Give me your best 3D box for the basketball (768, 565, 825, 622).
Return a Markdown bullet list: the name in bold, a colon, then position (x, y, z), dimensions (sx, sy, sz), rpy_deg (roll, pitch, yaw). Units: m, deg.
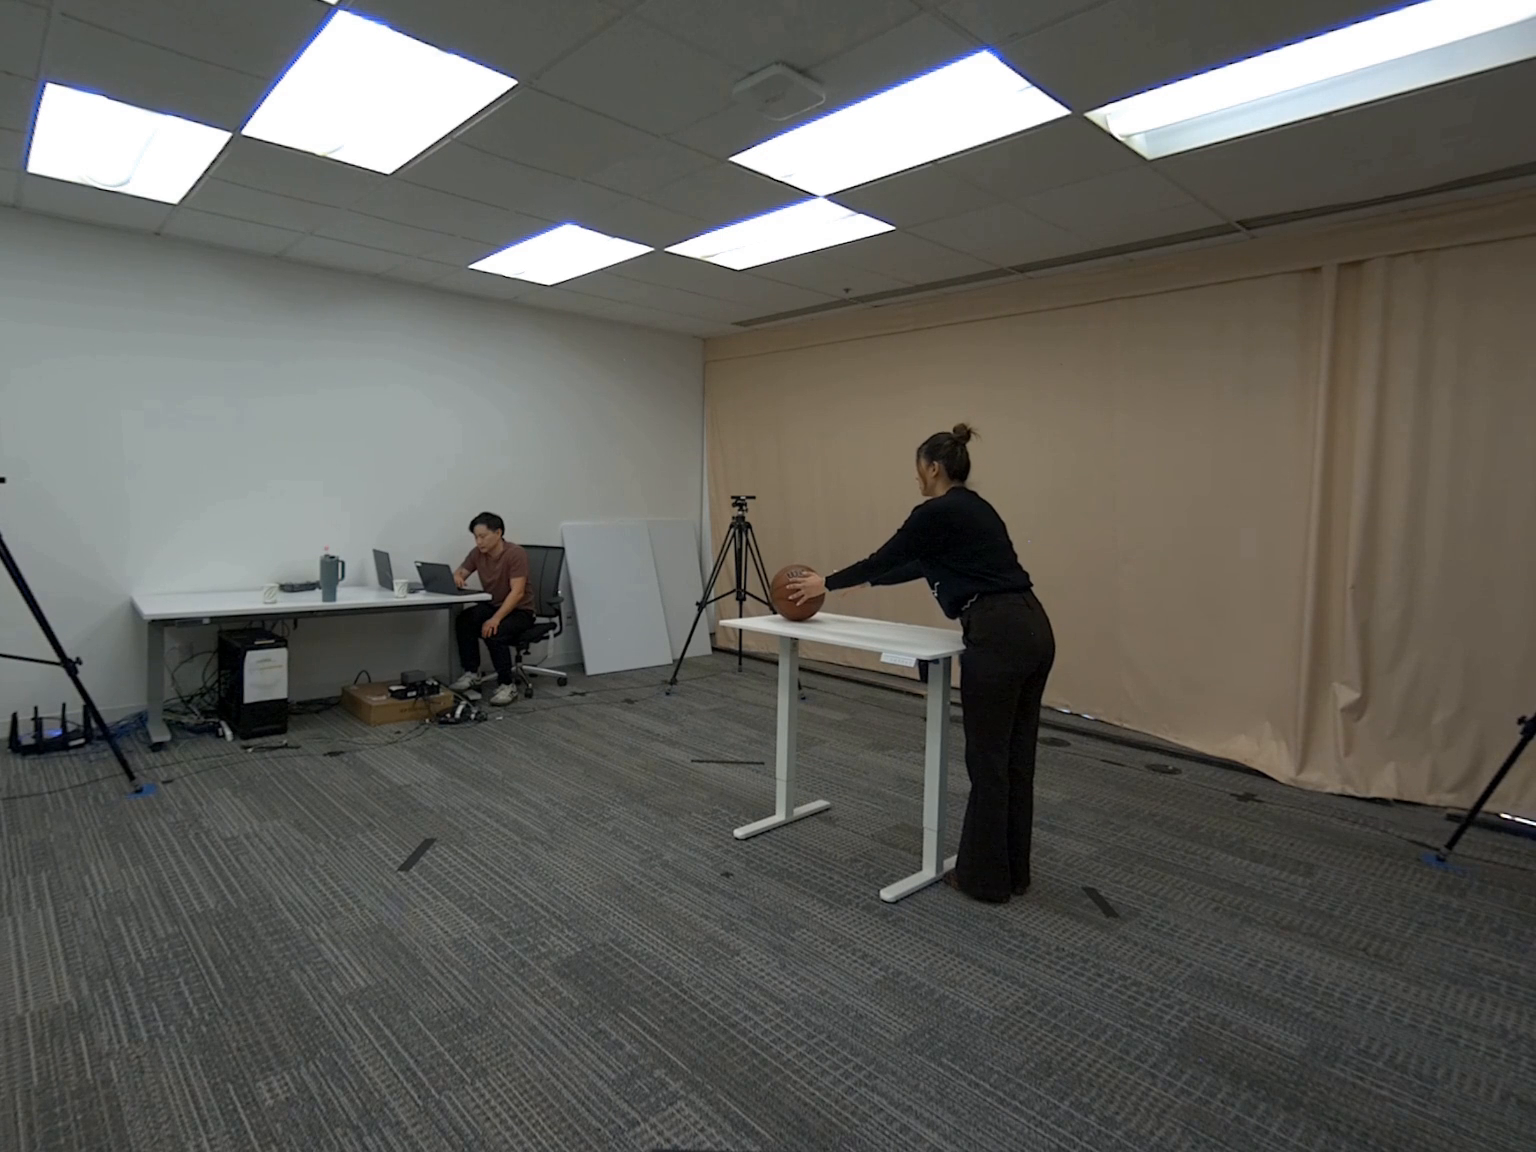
- **basketball**: position (0.116, 0.068, 3.546), dimensions (0.236, 0.235, 0.237), rpy_deg (1, 4, -1)
